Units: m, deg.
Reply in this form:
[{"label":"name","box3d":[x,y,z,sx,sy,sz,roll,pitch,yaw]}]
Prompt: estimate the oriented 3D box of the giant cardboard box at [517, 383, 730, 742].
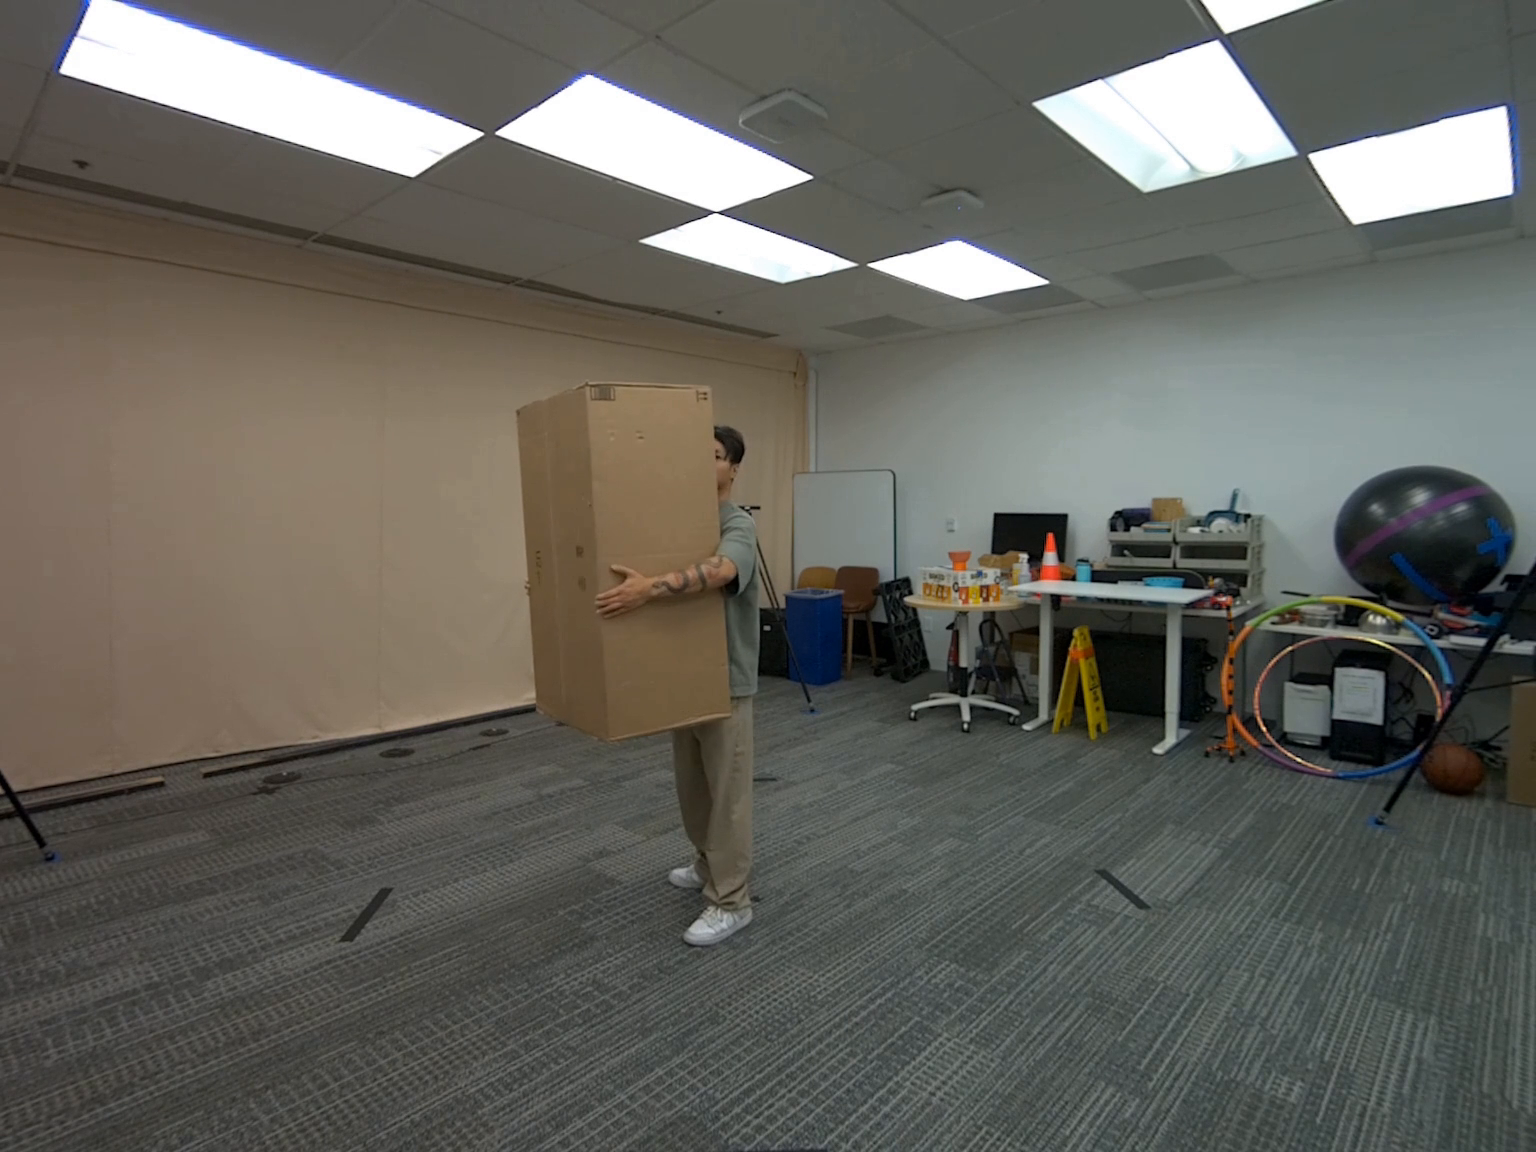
[{"label":"giant cardboard box","box3d":[-0.480,-0.062,2.714,0.414,1.024,0.594,-5,3,-34]}]
